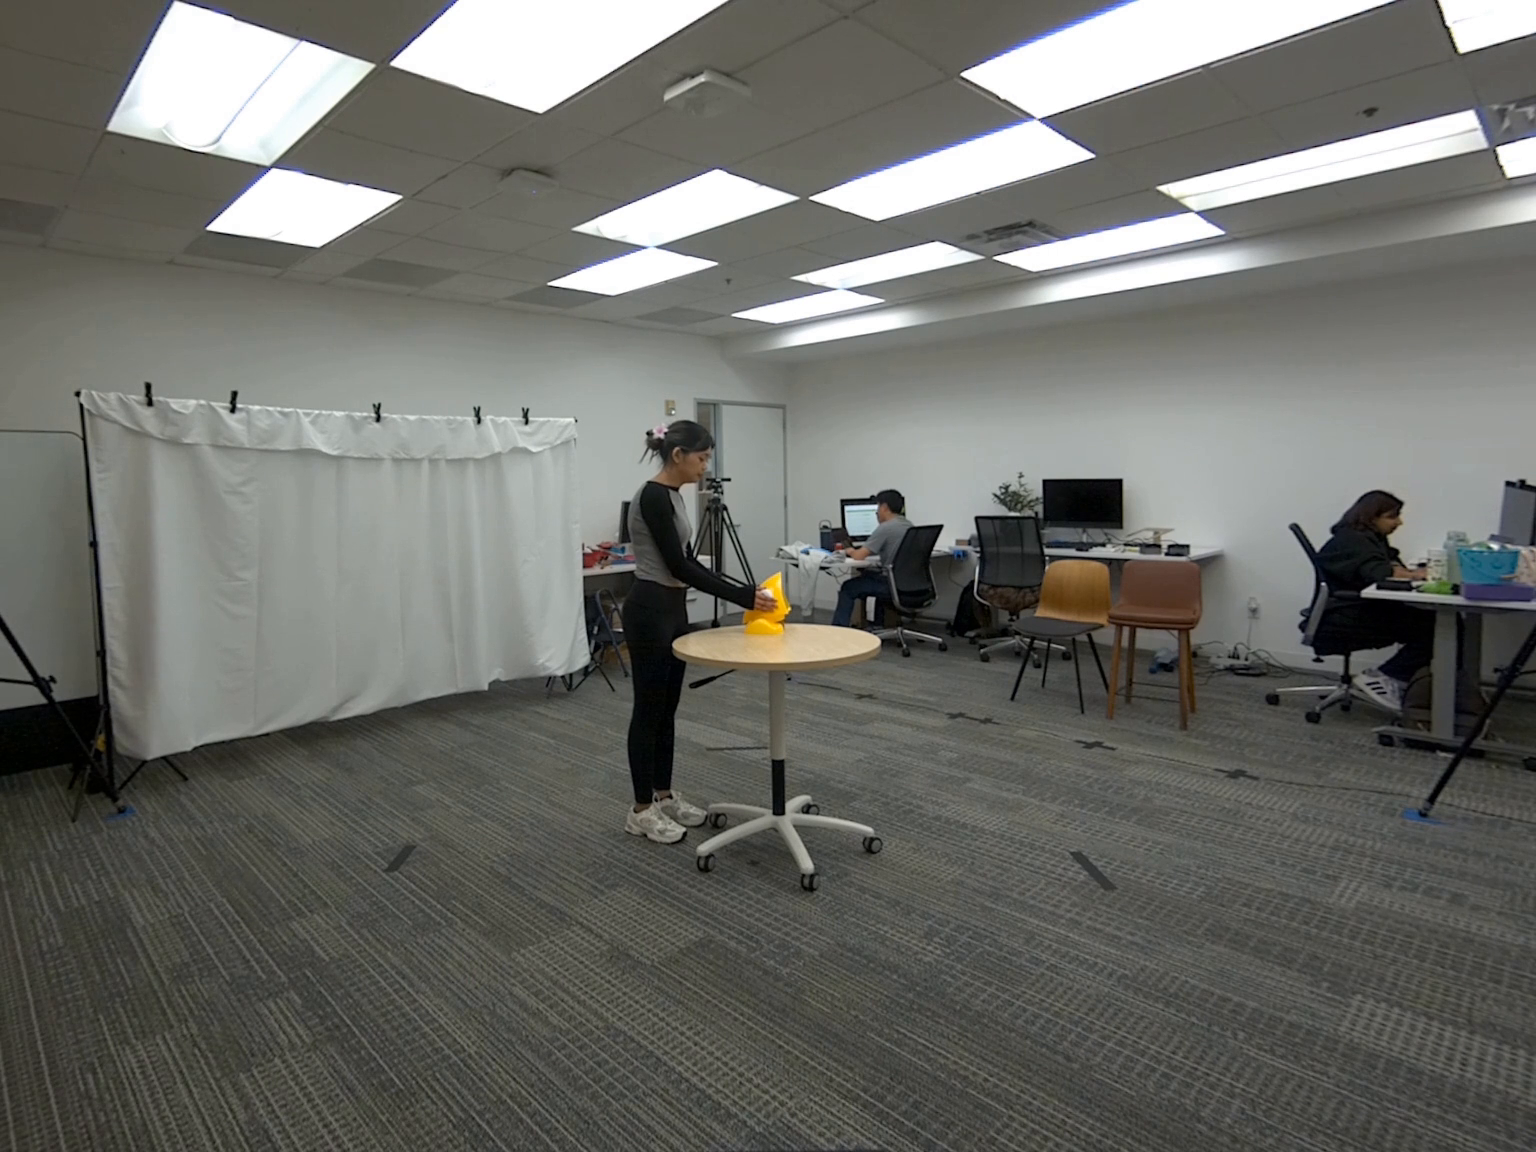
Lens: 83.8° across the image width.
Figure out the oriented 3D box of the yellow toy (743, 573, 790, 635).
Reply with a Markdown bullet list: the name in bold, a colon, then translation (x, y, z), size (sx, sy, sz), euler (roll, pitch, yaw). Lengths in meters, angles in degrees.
- **yellow toy**: translation (-0.011, 0.100, 3.394), size (0.194, 0.230, 0.204), euler (-1, 3, 5)
